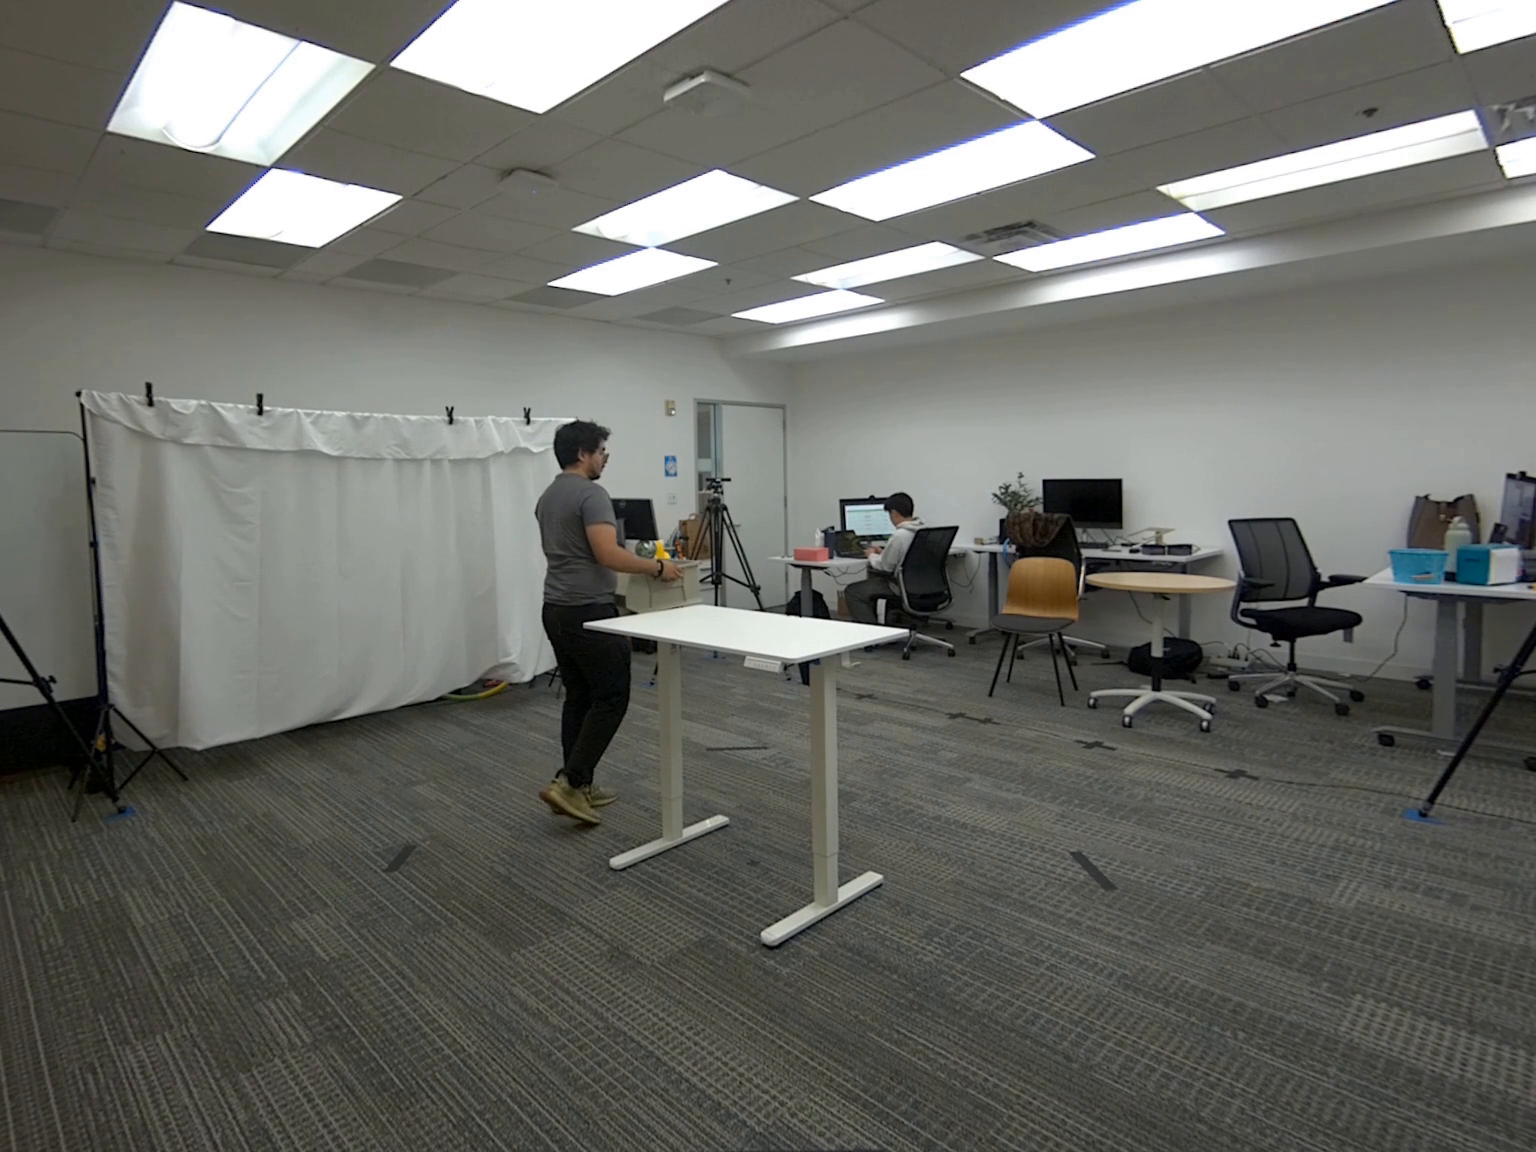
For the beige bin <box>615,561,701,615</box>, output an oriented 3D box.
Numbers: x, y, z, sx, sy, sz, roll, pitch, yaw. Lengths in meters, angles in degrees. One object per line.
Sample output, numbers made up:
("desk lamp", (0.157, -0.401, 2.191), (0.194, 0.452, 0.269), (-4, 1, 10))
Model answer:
("beige bin", (-0.560, 0.035, 3.835), (0.369, 0.188, 0.434), (-8, 7, -33))
